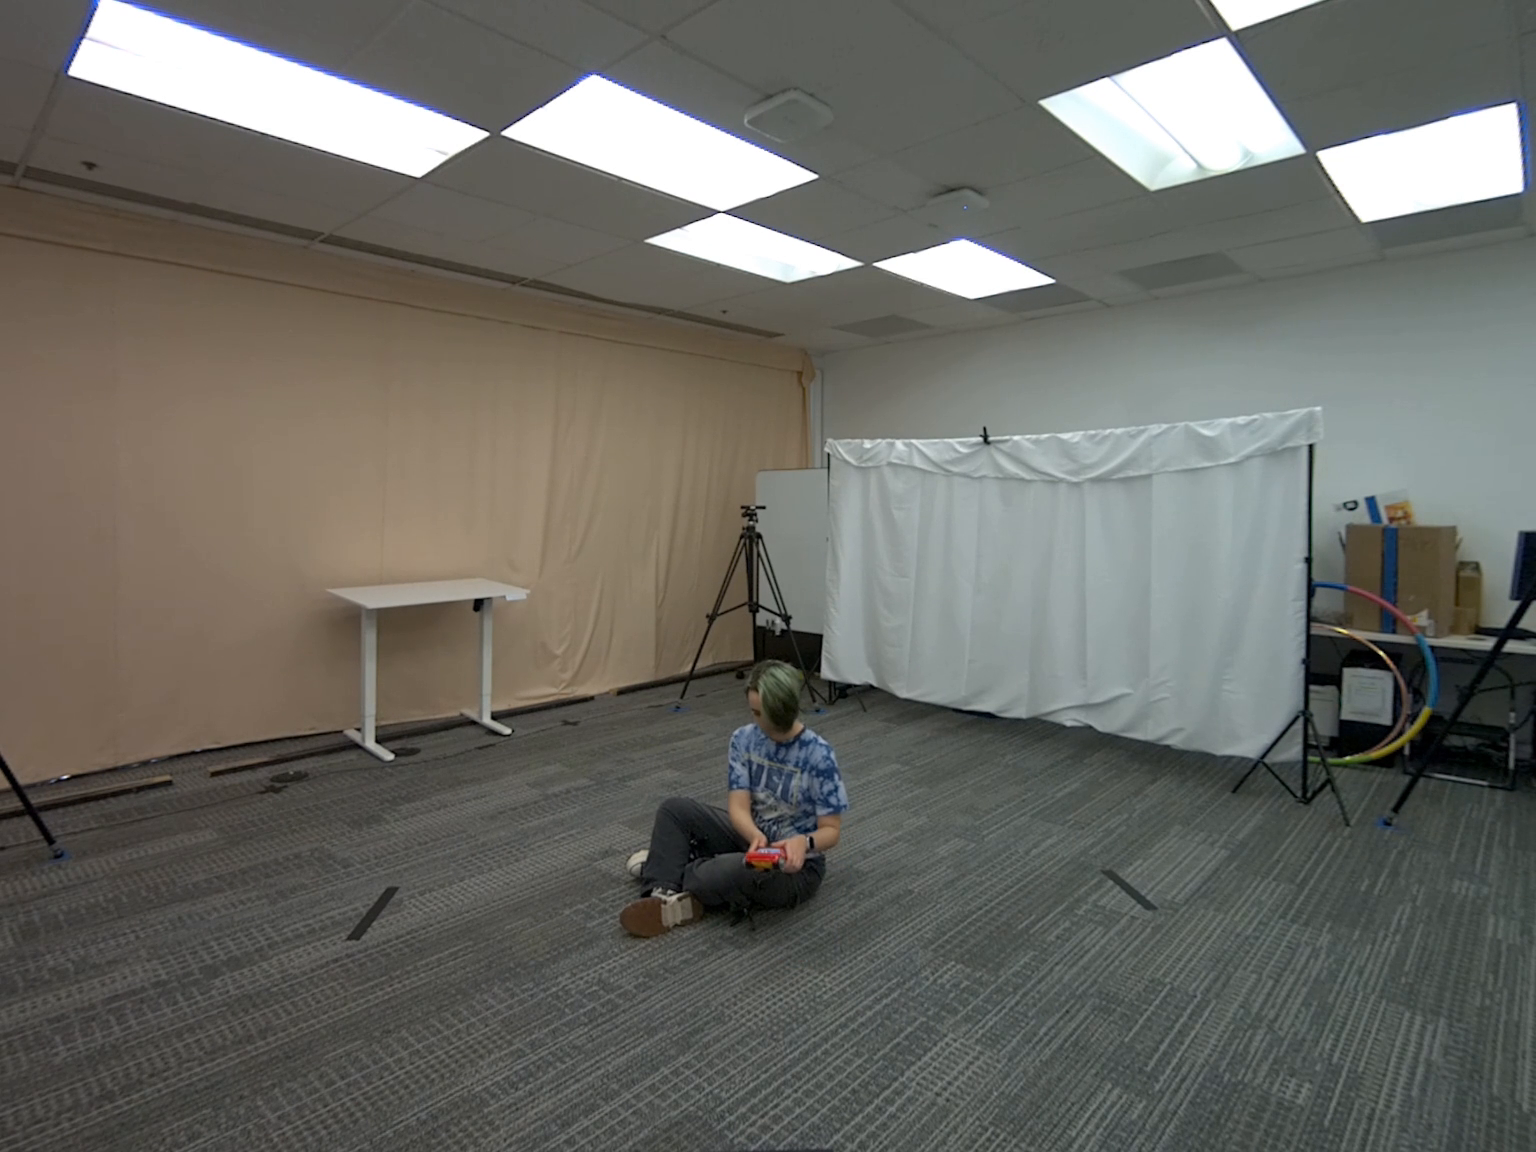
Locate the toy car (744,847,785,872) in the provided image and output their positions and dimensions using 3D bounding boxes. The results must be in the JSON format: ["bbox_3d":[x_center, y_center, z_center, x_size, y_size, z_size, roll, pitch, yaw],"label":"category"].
[{"bbox_3d":[0.010,0.898,2.658,0.132,0.084,0.248,-6,-12,16],"label":"toy car"}]
